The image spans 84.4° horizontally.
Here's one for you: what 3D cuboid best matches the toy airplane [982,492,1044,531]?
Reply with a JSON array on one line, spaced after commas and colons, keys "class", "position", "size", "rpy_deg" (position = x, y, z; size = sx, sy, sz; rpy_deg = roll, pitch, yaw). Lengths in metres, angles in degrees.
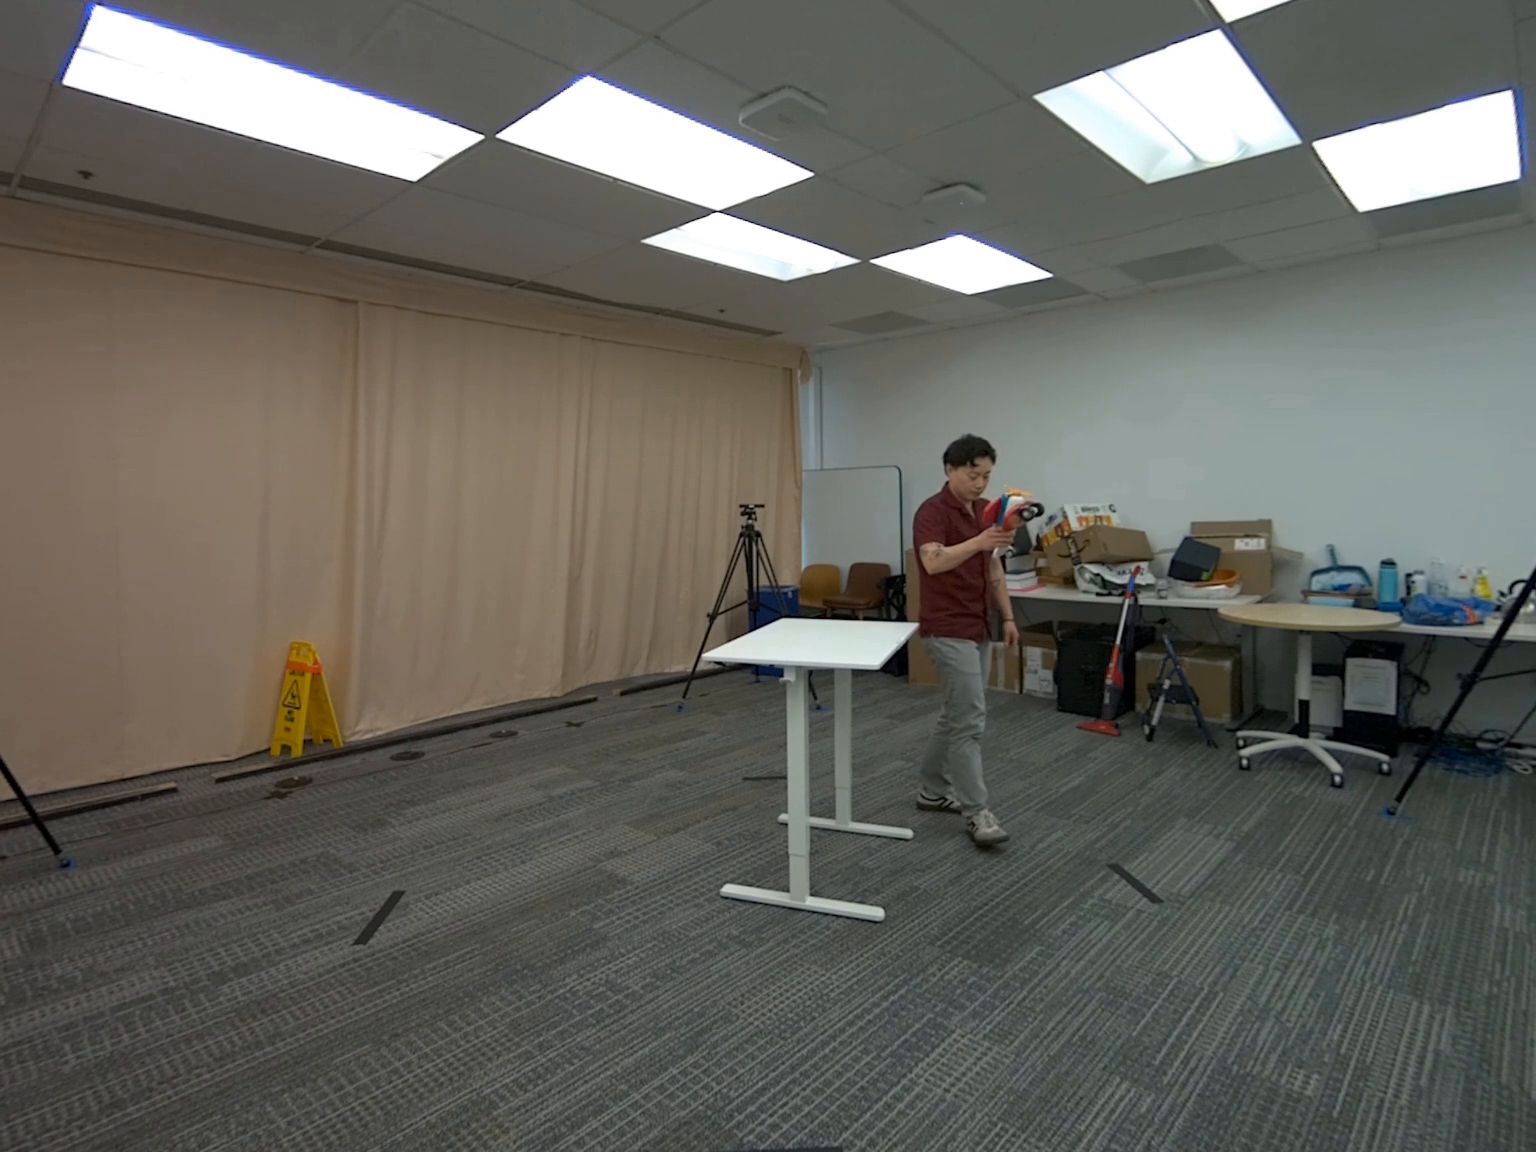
[{"class": "toy airplane", "position": [0.892, -0.193, 3.130], "size": [0.161, 0.259, 0.243], "rpy_deg": [37, 7, 28]}]
